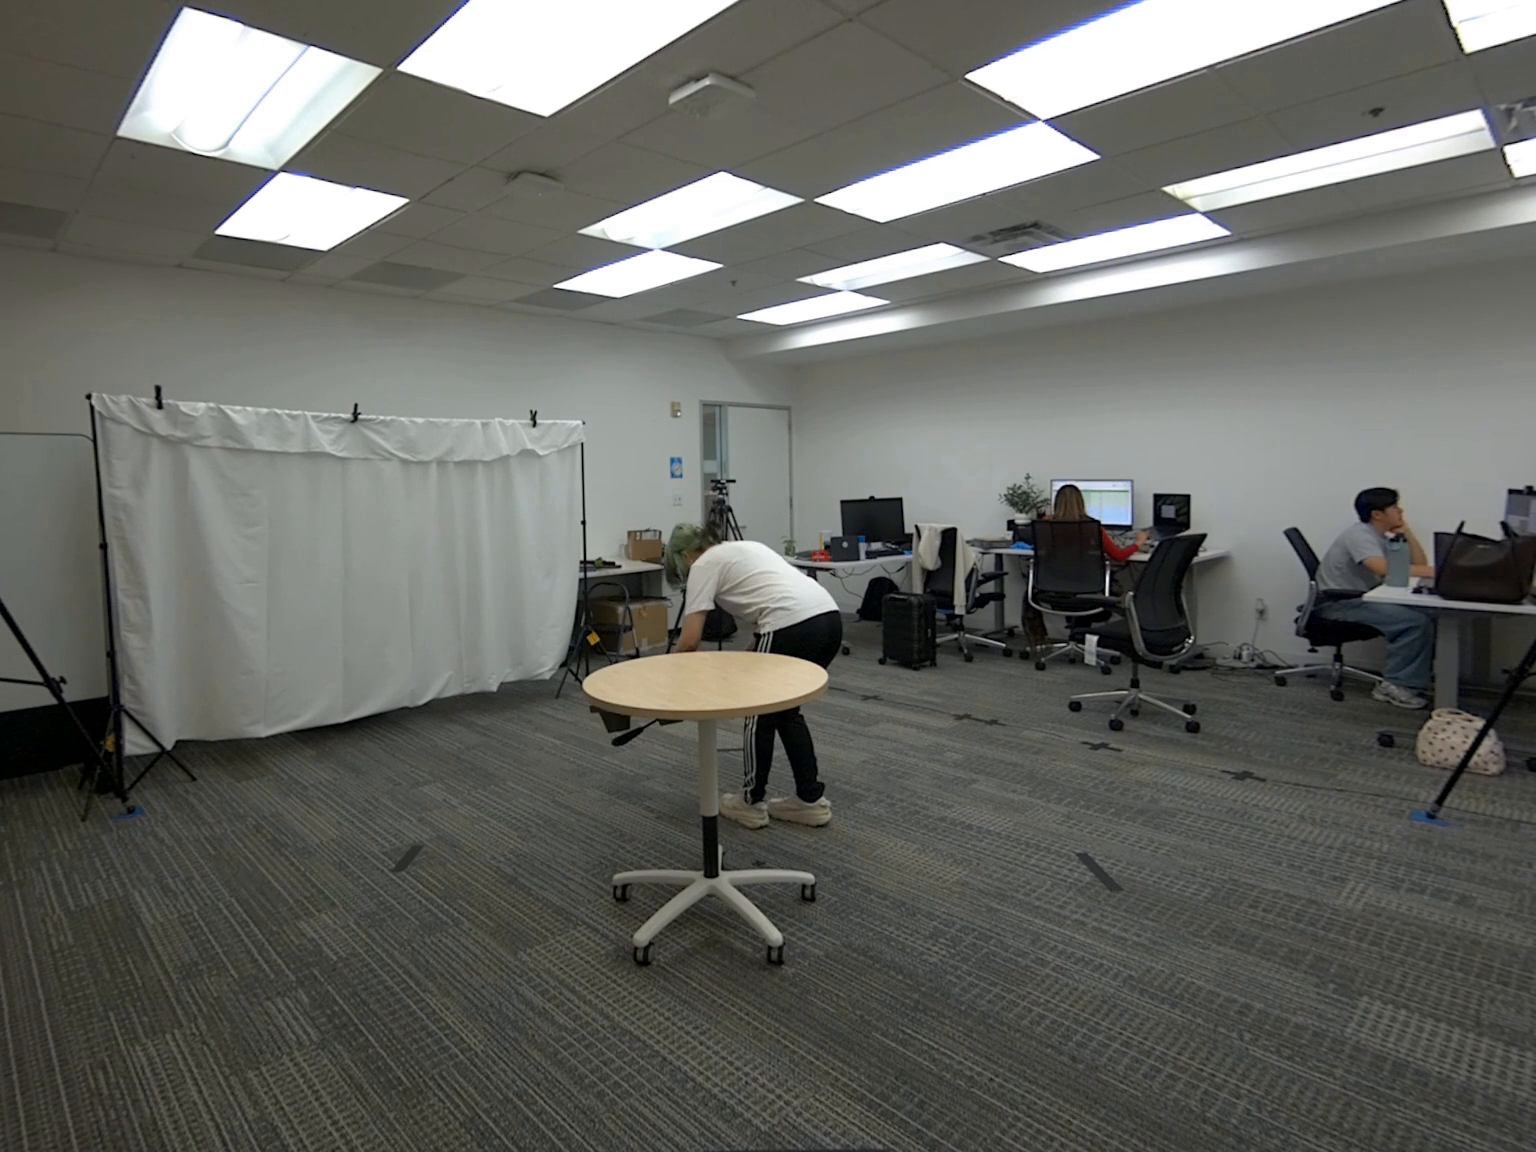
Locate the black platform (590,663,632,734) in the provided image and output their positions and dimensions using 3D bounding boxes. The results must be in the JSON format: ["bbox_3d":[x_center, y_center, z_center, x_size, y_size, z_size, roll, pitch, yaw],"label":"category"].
[{"bbox_3d":[-0.286,0.530,3.741,0.784,0.144,0.616,-6,-8,-45],"label":"black platform"}]
